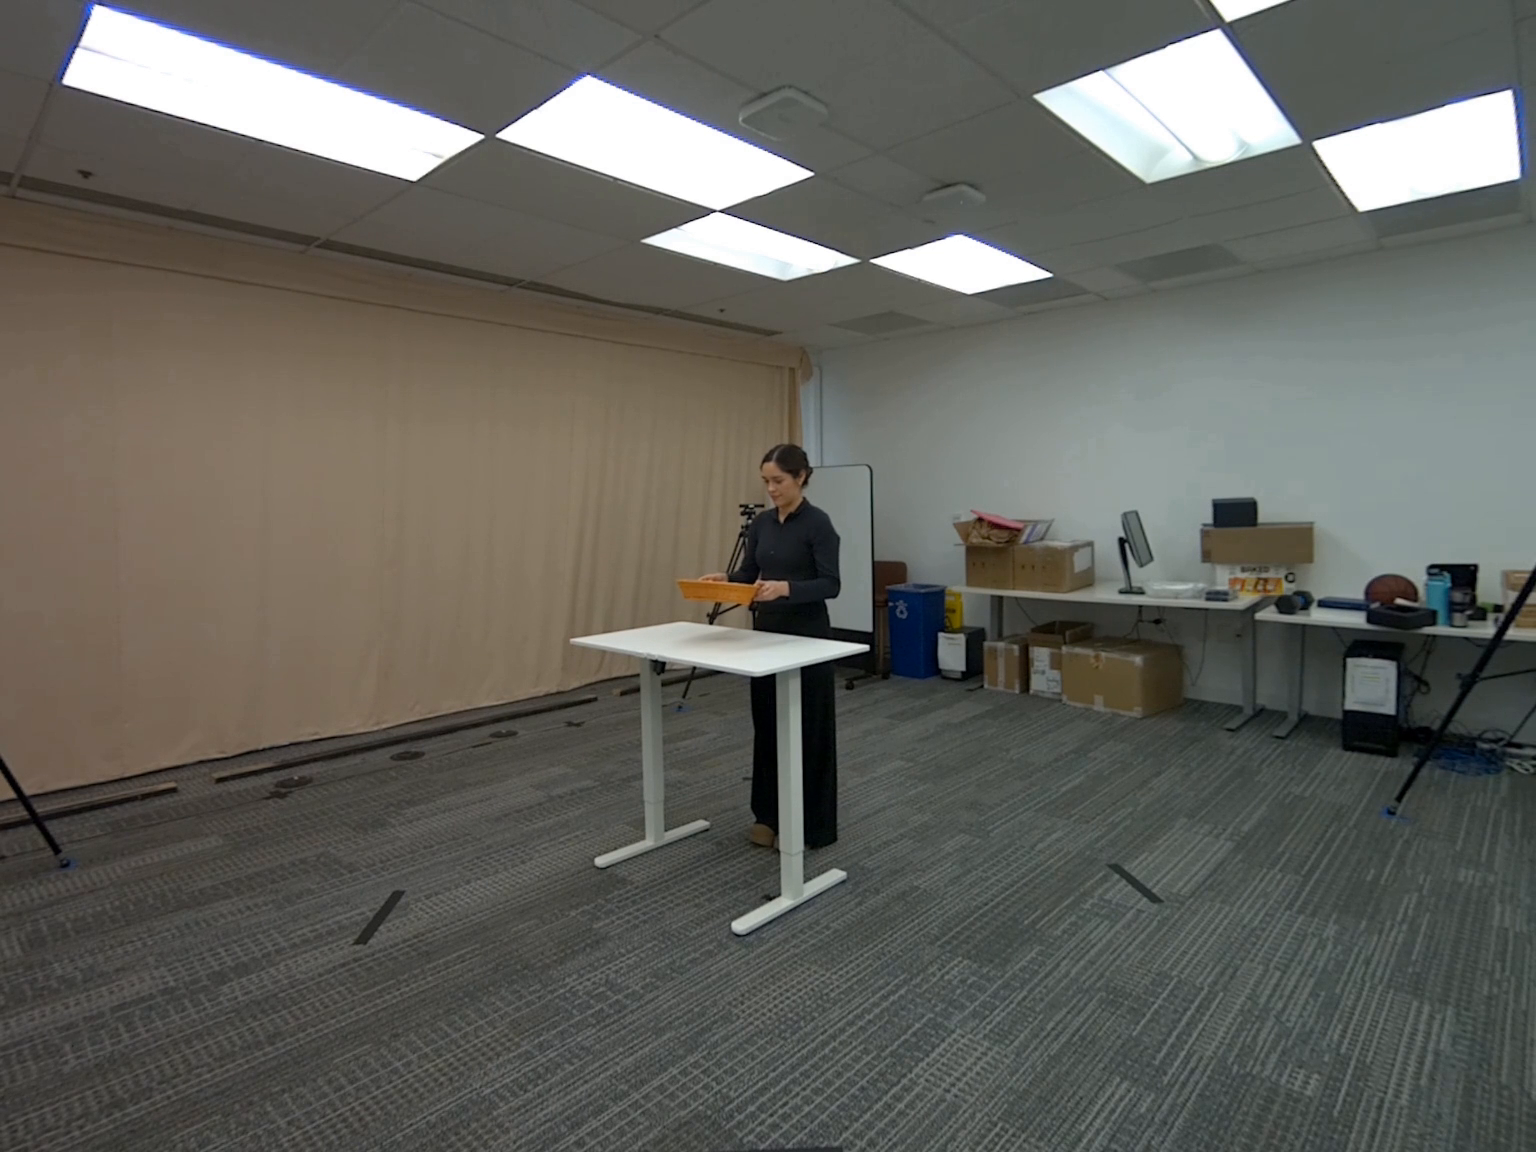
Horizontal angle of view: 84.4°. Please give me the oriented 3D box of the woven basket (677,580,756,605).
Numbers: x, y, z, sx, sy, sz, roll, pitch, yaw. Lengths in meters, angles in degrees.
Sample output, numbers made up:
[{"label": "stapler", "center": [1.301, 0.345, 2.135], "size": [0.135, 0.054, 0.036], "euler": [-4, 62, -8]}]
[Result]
[{"label": "woven basket", "center": [-0.172, 0.064, 3.182], "size": [0.244, 0.073, 0.361], "euler": [3, 0, -38]}]
